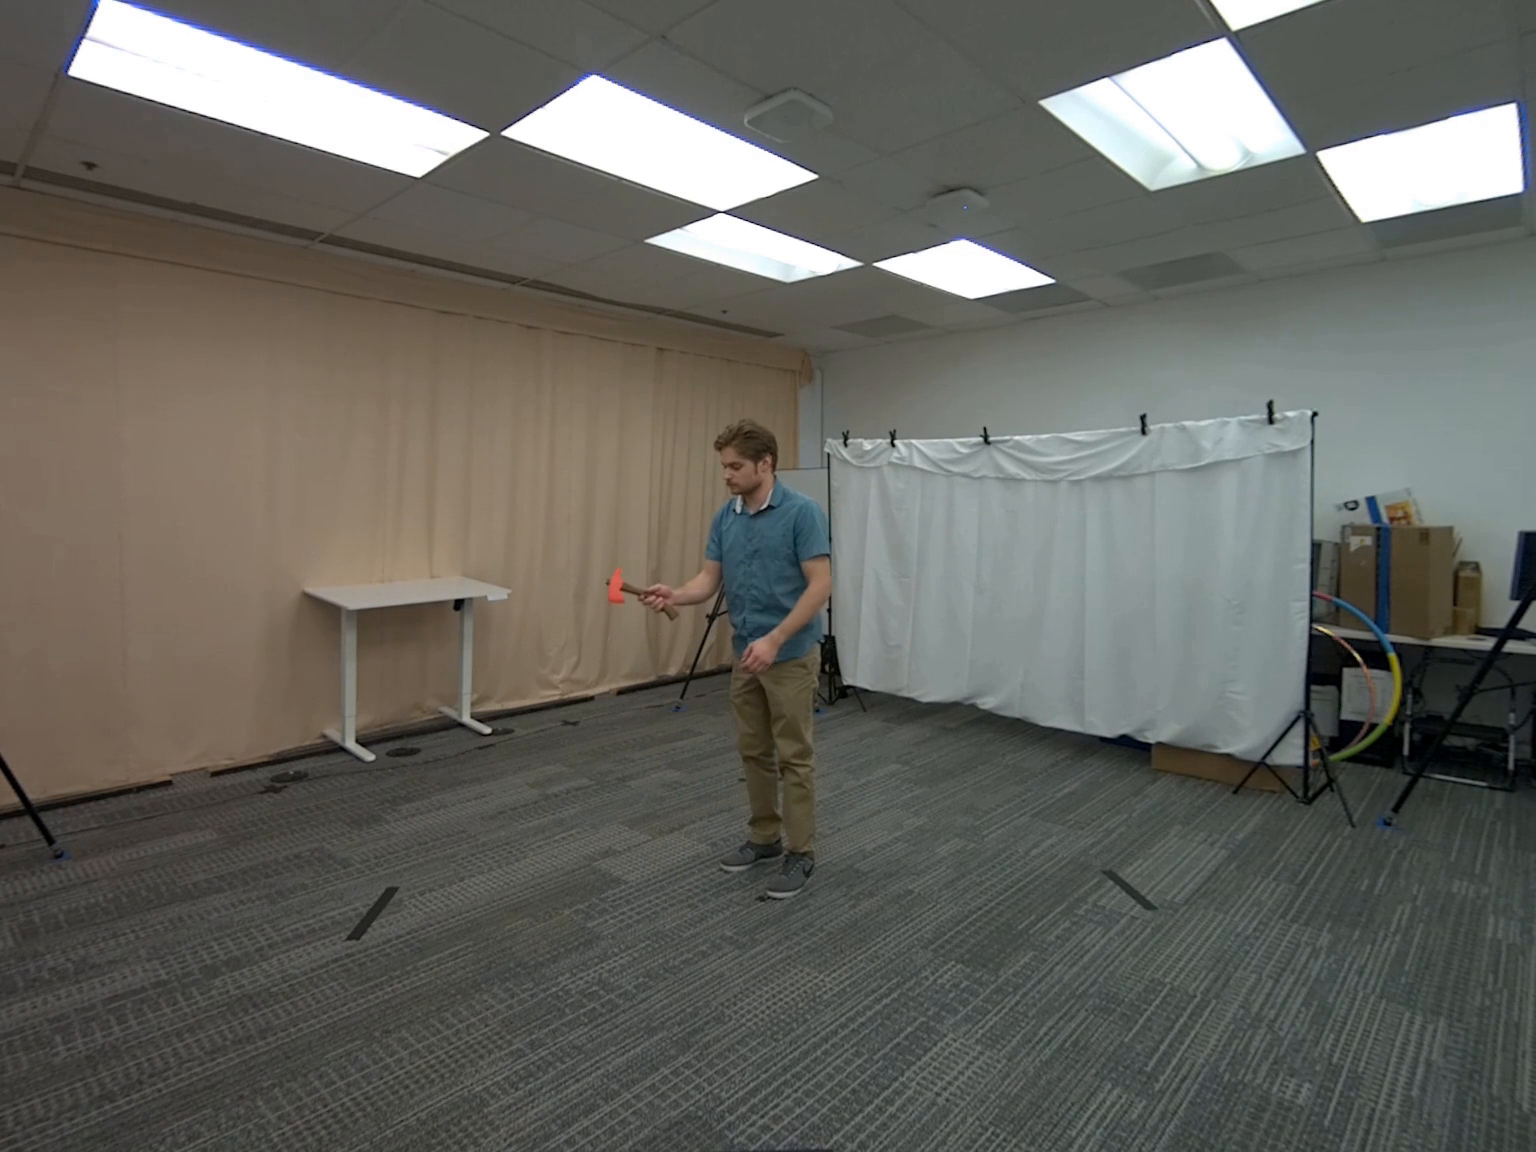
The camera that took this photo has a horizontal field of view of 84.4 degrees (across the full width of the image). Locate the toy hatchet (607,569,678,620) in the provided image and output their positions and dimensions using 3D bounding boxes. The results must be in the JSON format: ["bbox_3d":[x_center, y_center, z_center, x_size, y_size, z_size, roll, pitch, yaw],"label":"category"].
[{"bbox_3d":[-0.429,0.107,2.898,0.269,0.130,0.030,38,-34,-2],"label":"toy hatchet"}]
